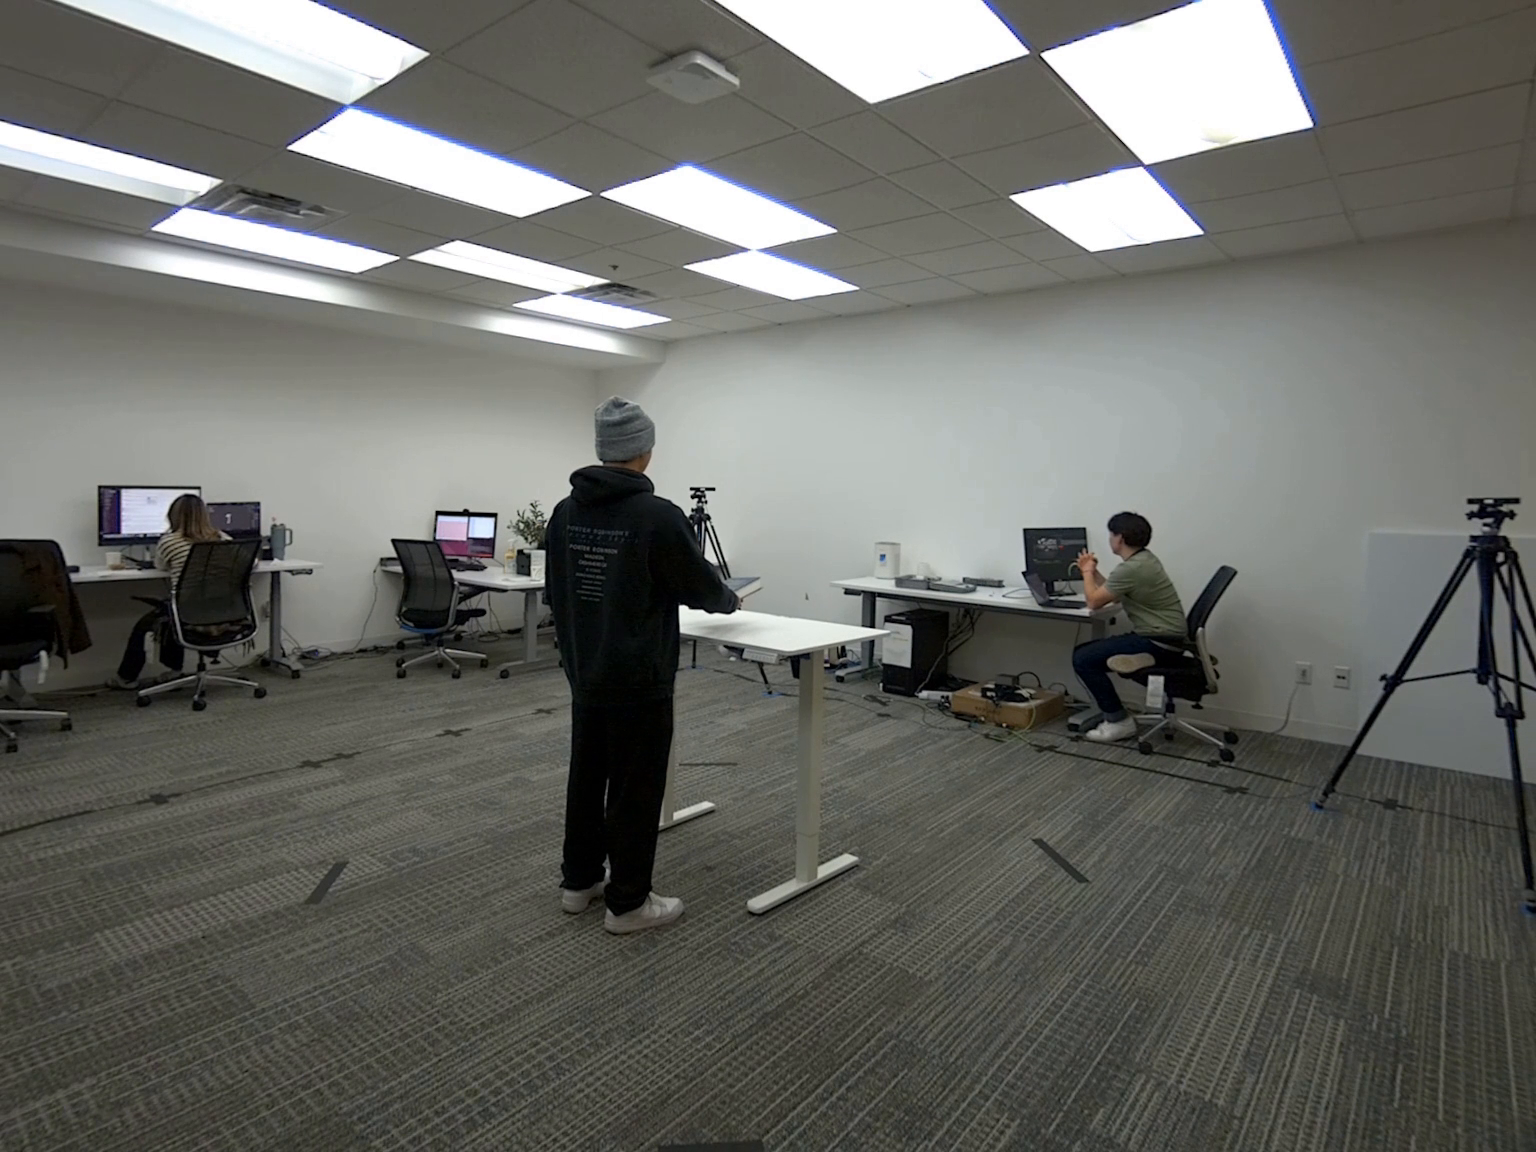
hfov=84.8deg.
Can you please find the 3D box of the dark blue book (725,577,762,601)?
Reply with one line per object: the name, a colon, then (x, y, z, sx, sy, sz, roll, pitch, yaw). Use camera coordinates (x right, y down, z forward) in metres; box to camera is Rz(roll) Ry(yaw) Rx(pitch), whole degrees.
dark blue book: (-0.167, 0.062, 3.140, 0.168, 0.044, 0.241, -1, 19, 42)
